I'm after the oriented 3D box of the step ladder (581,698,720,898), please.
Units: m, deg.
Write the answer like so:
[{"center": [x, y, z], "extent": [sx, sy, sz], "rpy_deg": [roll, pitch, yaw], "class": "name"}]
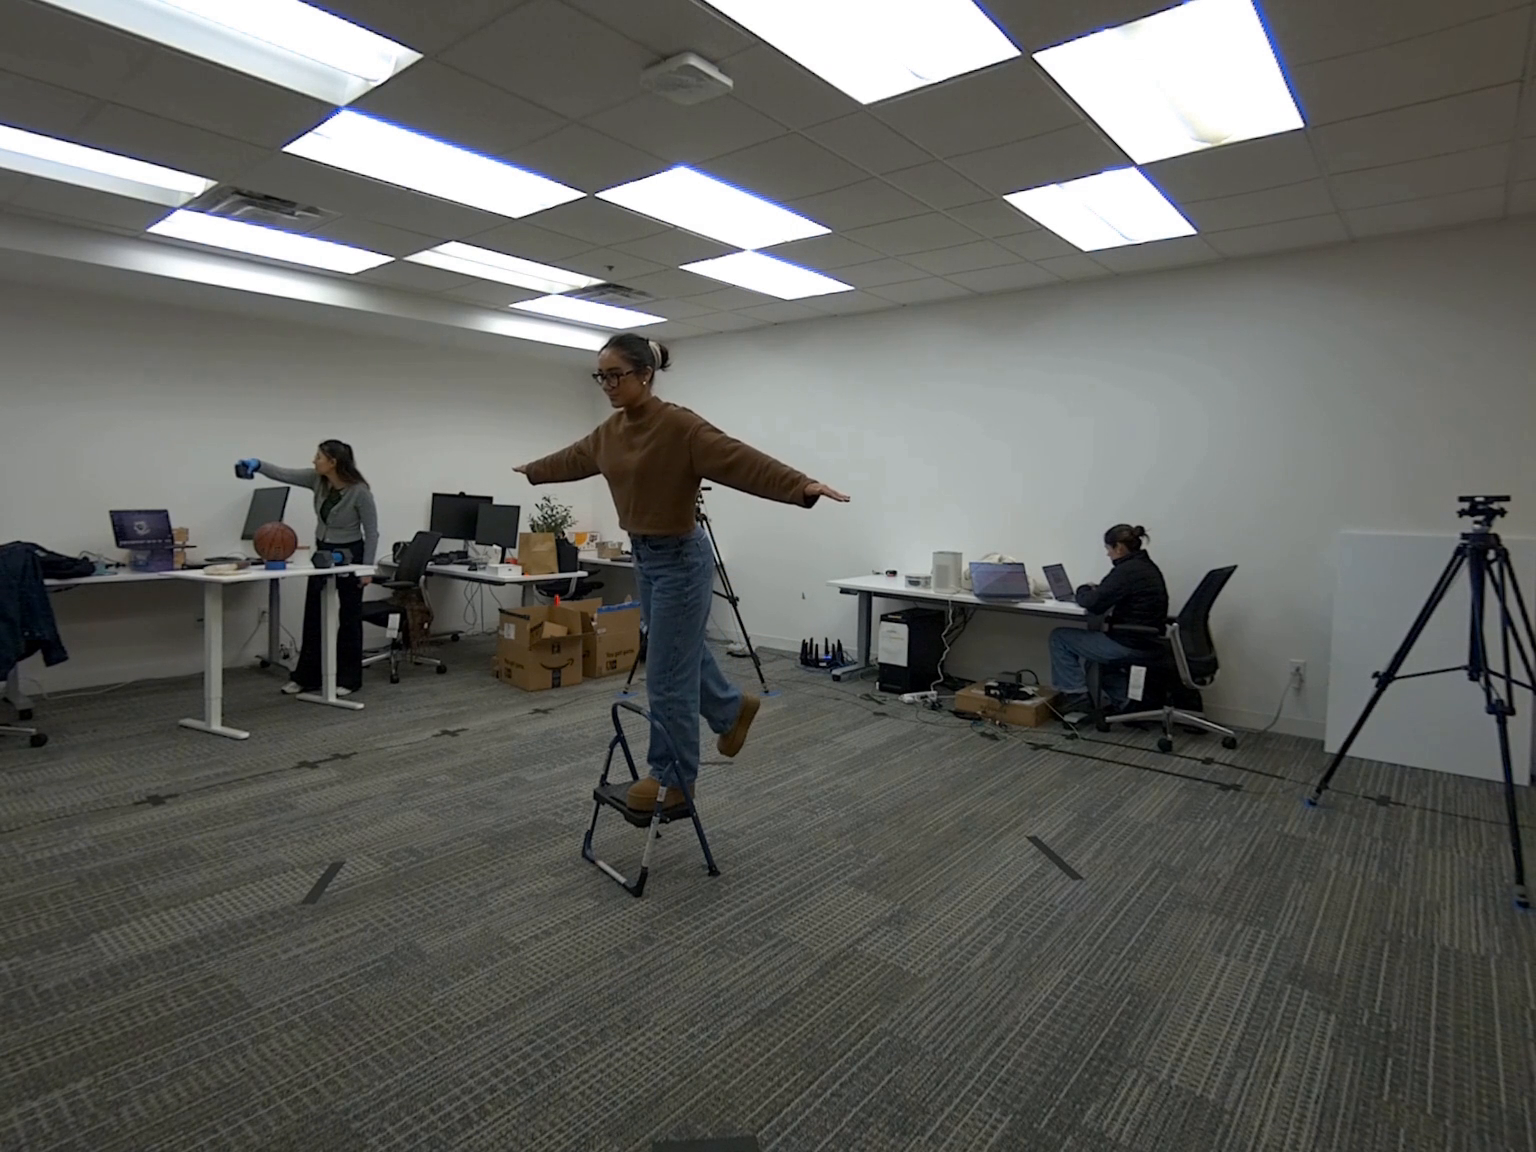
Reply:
[{"center": [-0.447, 0.760, 3.117], "extent": [0.339, 0.604, 0.445], "rpy_deg": [-2, 5, -39], "class": "step ladder"}]
